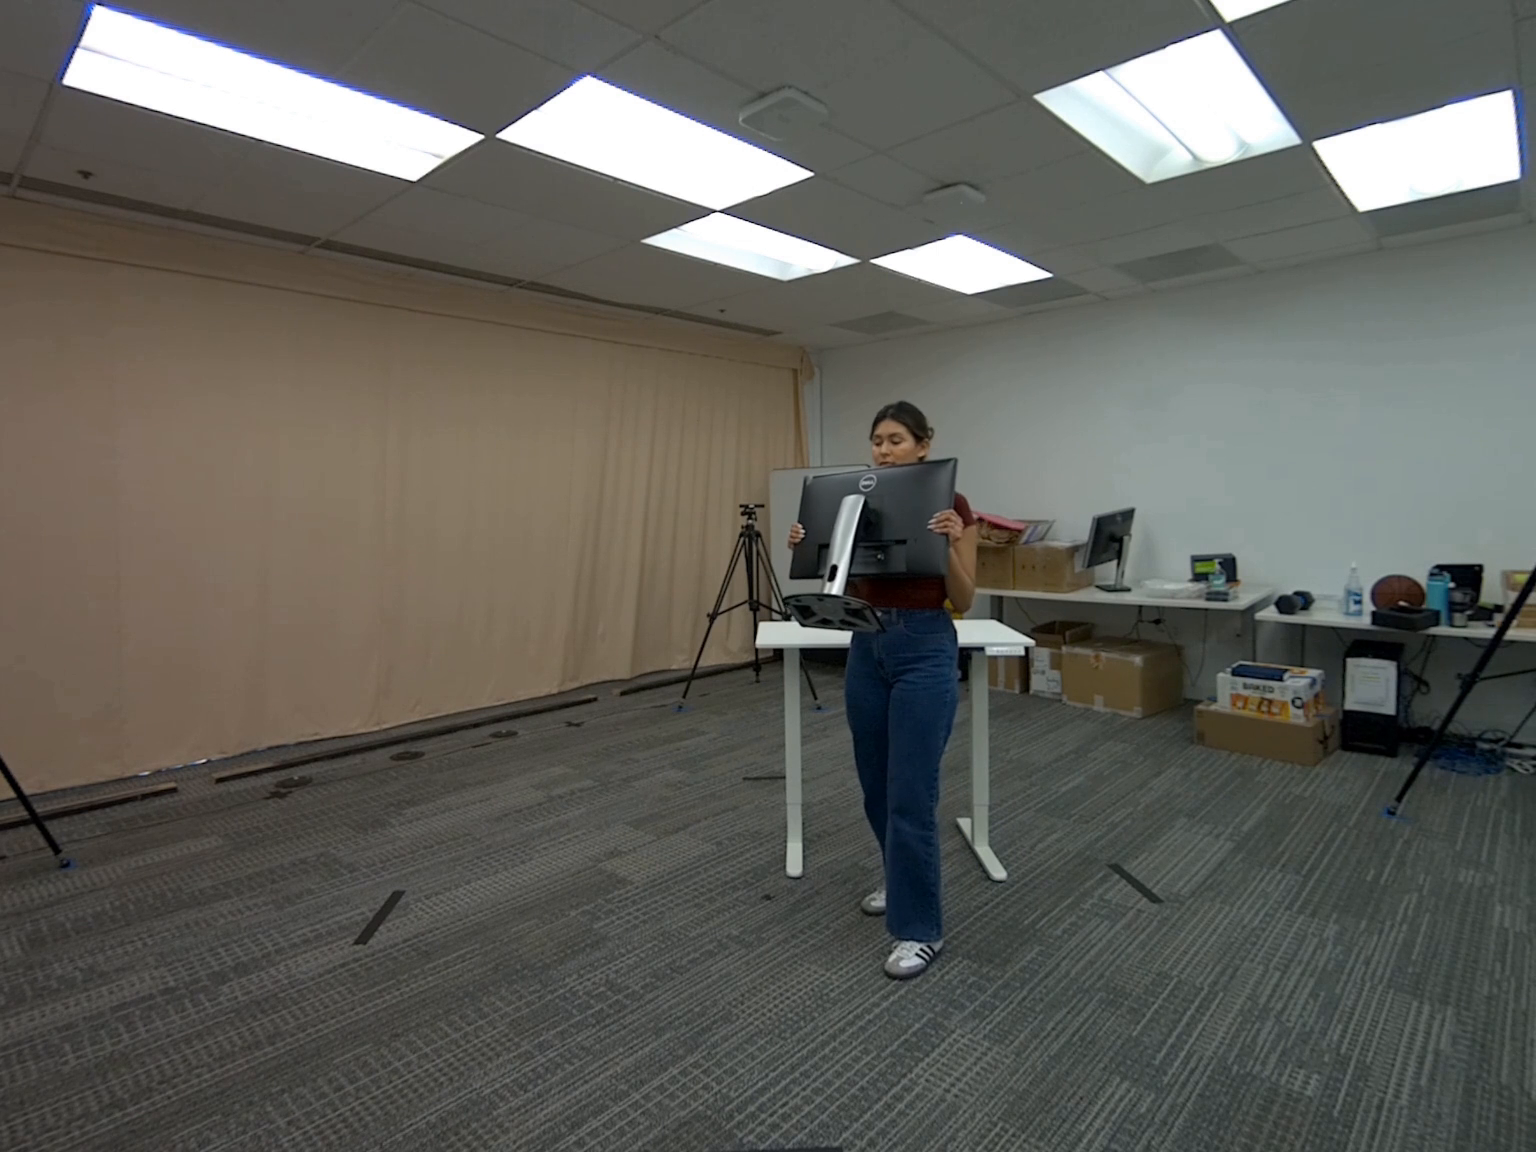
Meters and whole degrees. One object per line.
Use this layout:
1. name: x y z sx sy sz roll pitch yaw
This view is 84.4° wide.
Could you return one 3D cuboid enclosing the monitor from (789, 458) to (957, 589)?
1. monitor: 0.267 -0.098 2.494 0.556 0.525 0.180 0 -32 37
